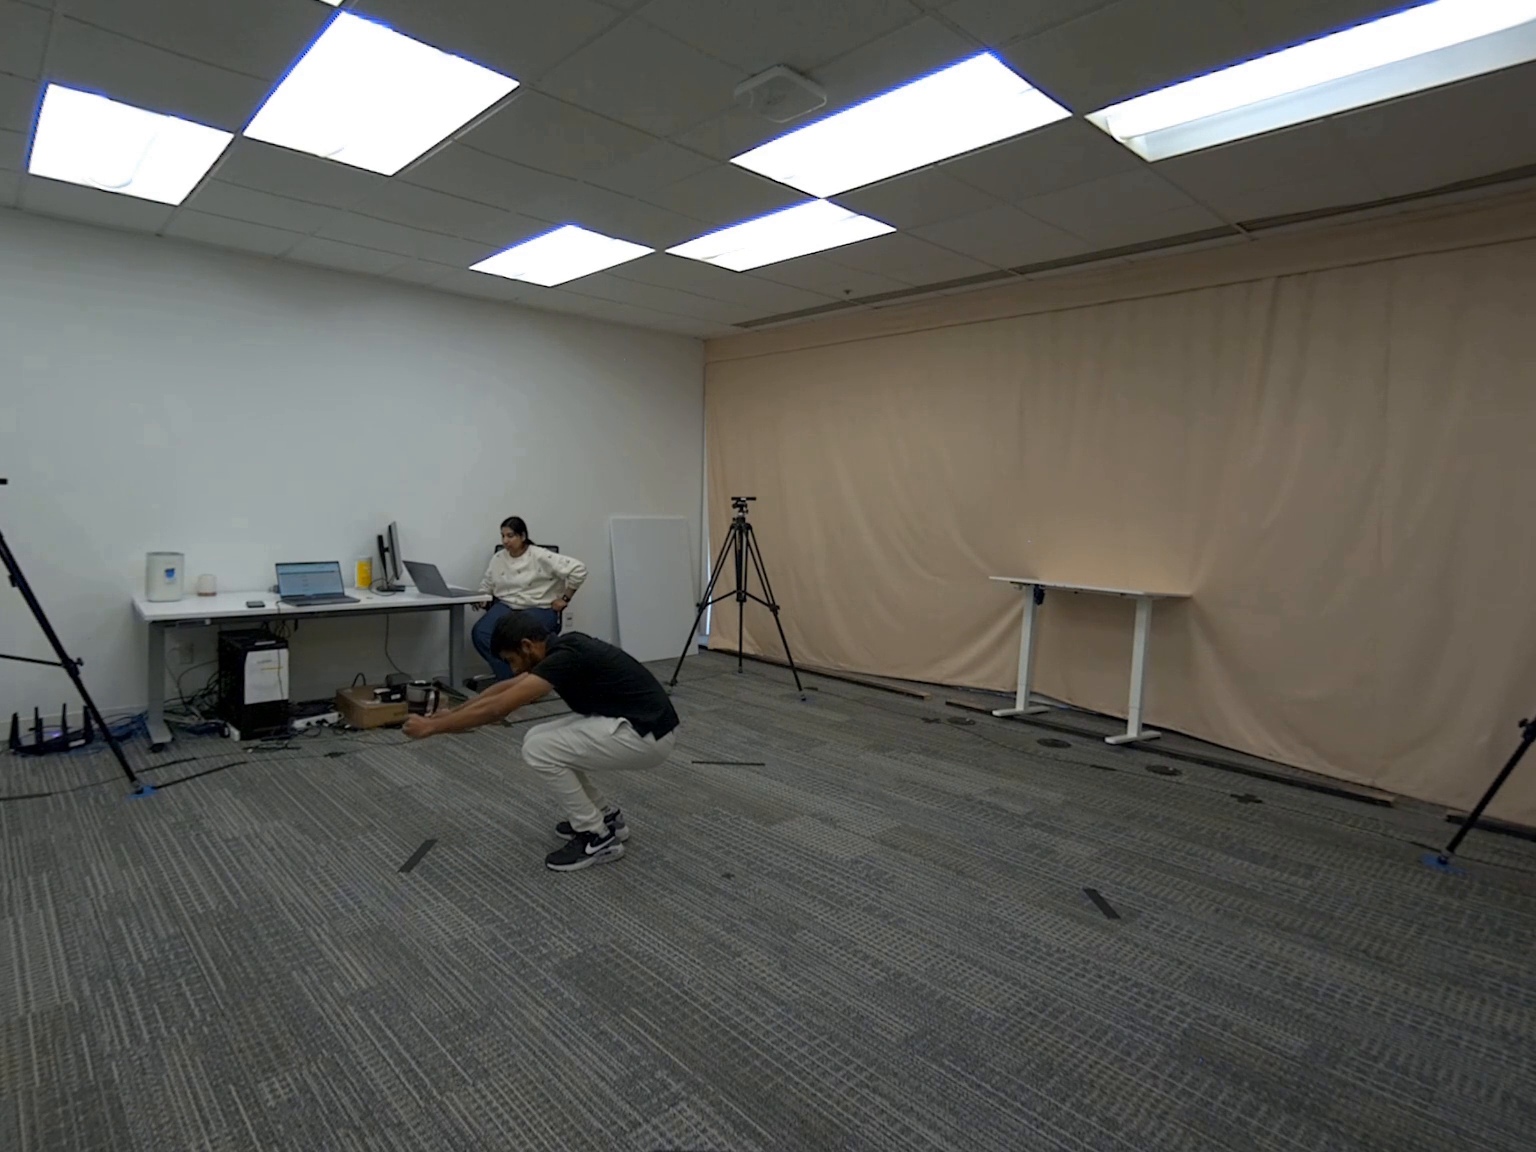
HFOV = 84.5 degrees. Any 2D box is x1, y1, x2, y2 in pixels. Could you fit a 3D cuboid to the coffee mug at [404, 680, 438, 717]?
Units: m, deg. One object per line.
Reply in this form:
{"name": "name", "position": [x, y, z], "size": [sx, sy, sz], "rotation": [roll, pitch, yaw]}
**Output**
{"name": "coffee mug", "position": [-1.311, 0.498, 3.165], "size": [0.086, 0.203, 0.125], "rotation": [5, -4, -42]}
